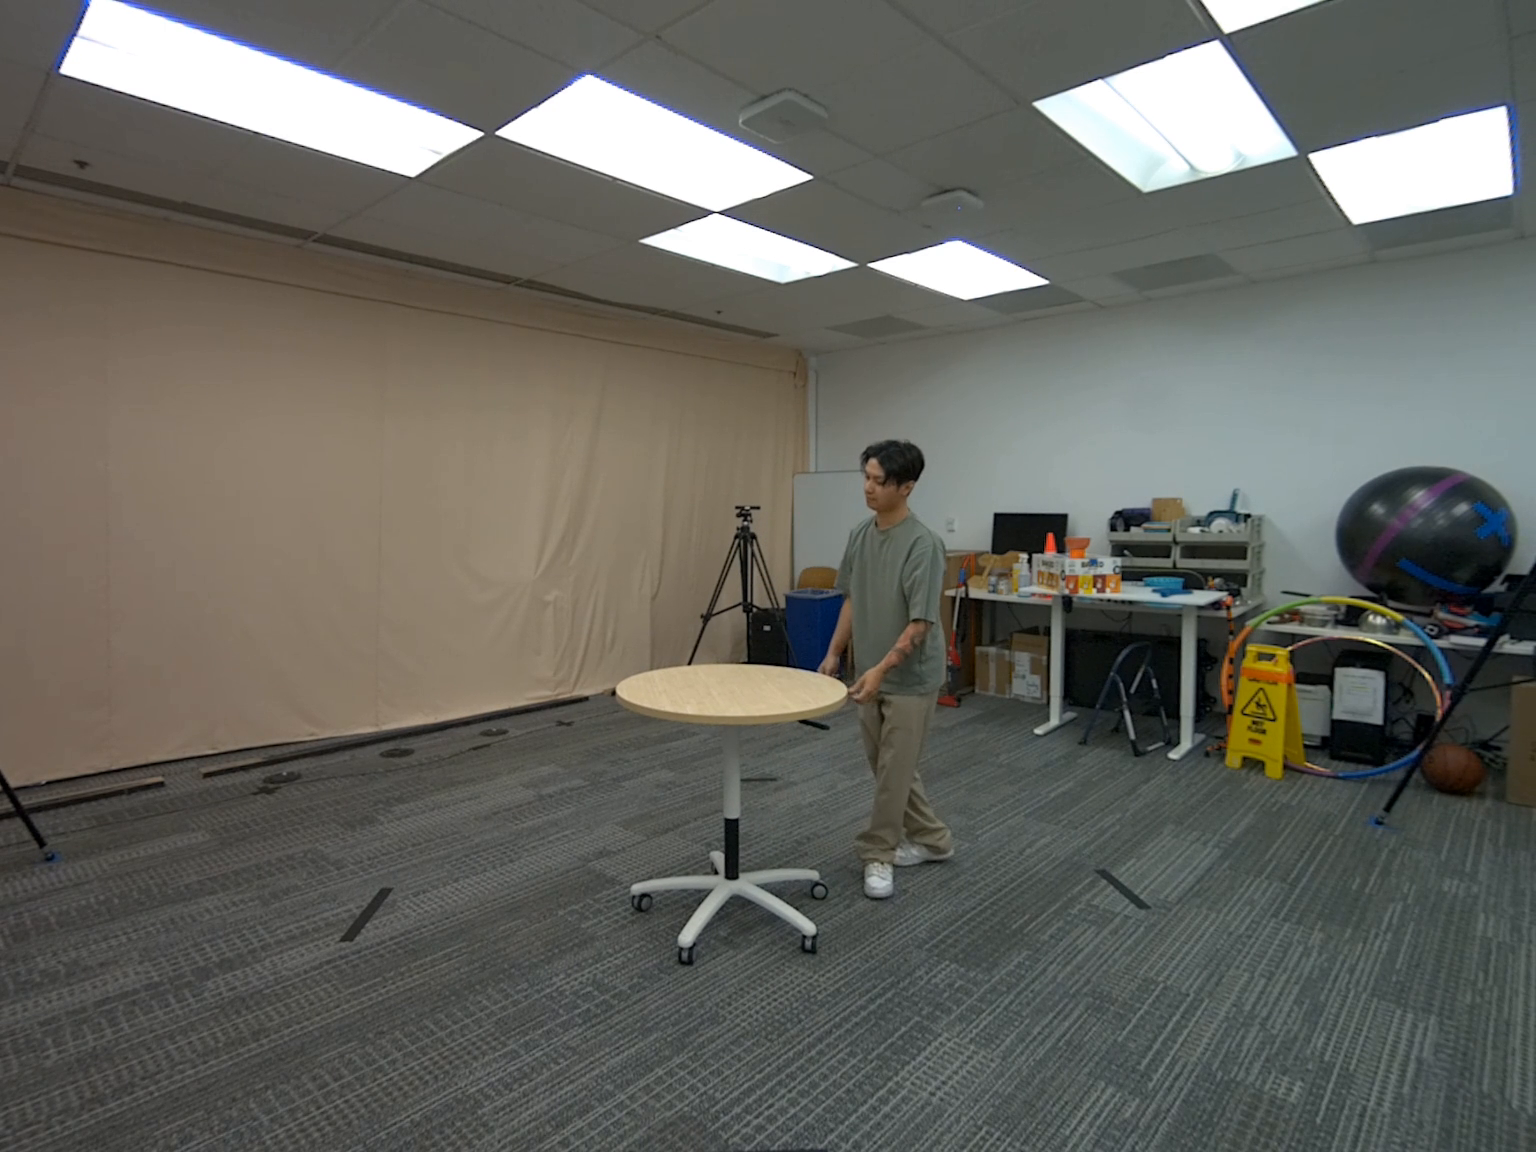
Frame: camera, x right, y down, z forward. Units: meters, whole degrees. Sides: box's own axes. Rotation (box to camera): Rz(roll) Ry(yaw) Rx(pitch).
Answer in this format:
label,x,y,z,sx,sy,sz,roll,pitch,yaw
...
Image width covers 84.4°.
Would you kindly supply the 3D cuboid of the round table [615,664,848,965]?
label,x,y,z,sx,sy,sz,roll,pitch,yaw
round table,-0.109,0.762,2.807,0.784,0.784,0.788,-1,4,-2
